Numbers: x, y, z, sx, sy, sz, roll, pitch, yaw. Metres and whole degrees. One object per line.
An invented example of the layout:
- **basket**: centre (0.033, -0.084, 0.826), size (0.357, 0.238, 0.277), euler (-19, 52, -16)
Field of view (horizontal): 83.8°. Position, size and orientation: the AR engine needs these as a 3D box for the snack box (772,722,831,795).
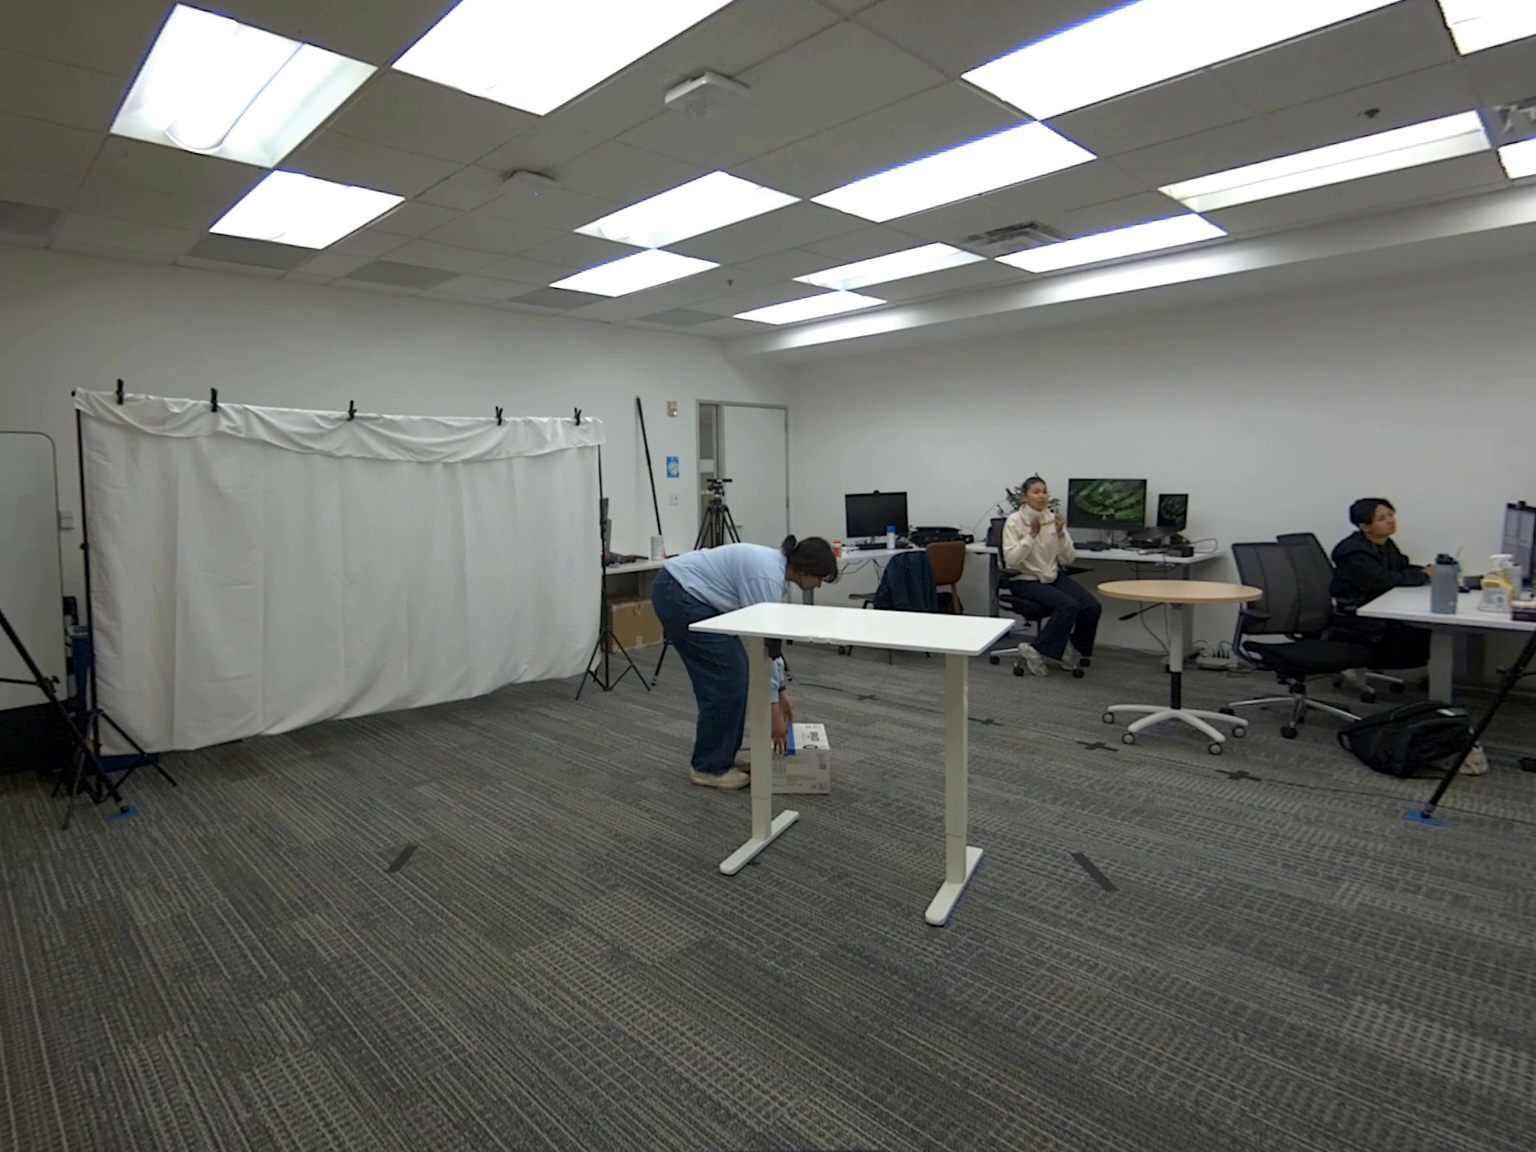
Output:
- **snack box**: centre (0.098, 0.839, 3.966), size (0.341, 0.205, 0.406), euler (-1, 5, 1)
